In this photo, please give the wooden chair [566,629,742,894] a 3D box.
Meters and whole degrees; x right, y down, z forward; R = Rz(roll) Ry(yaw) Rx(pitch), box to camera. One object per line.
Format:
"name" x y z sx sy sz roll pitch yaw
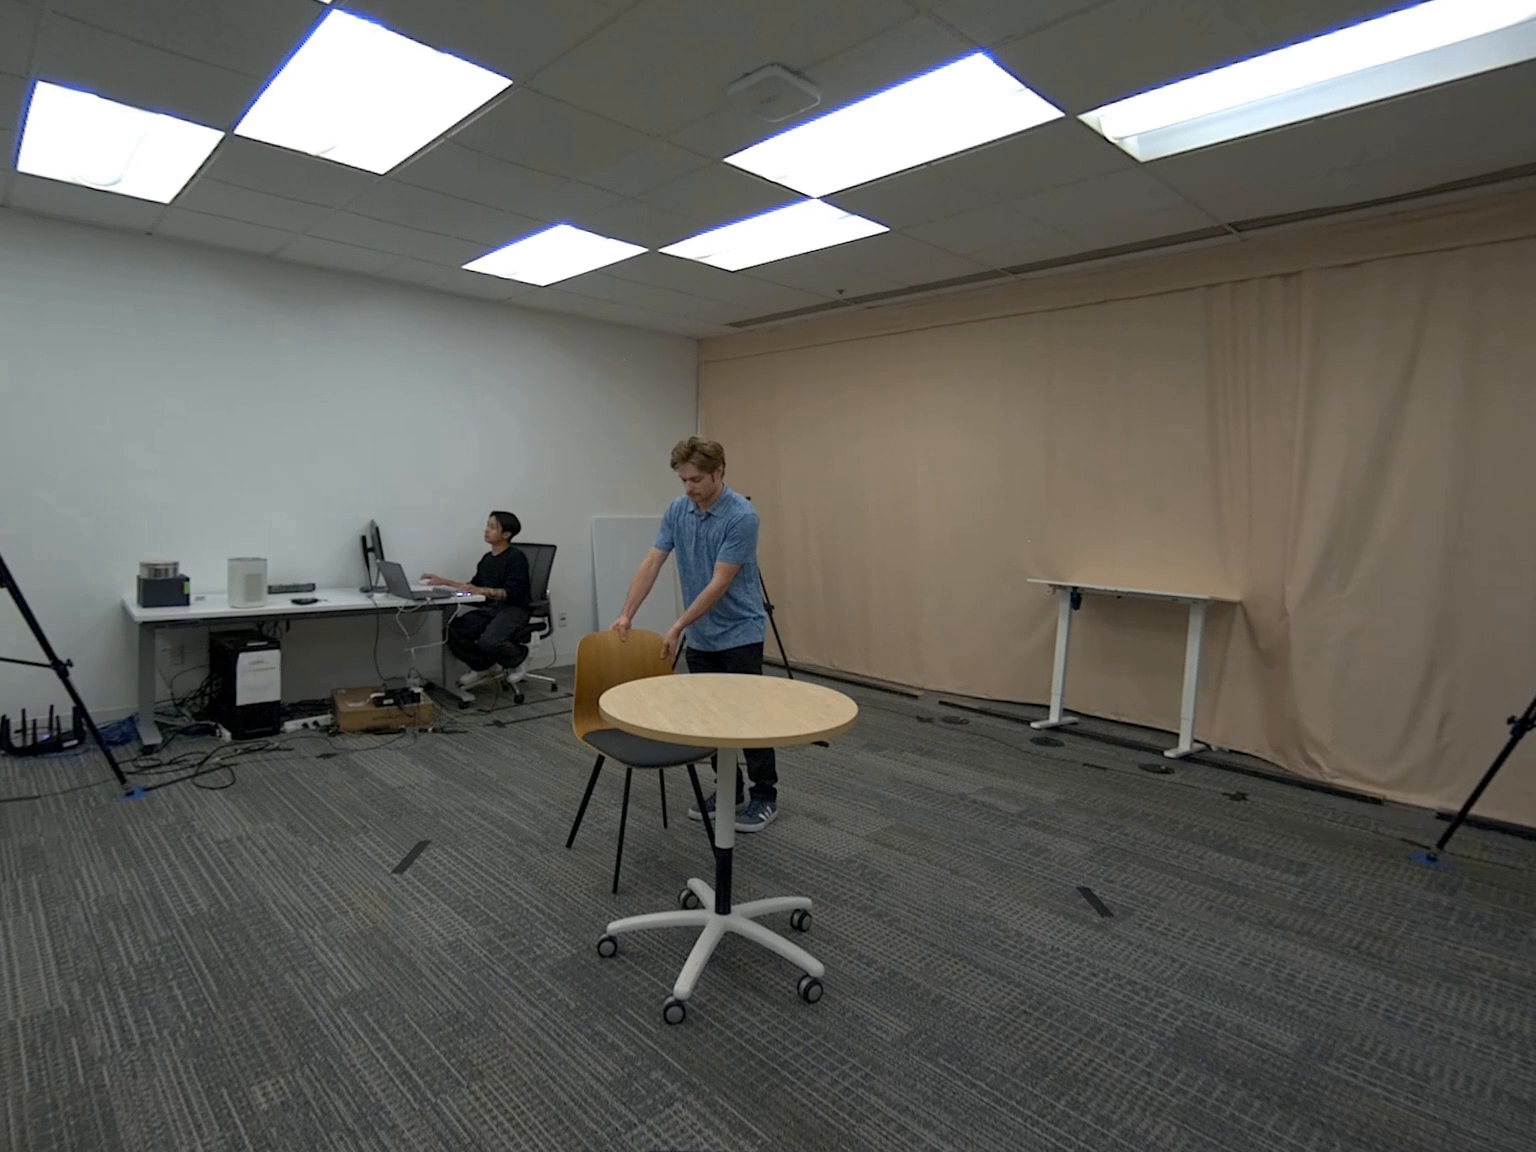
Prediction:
"wooden chair" -0.474 0.664 3.212 0.468 0.878 0.534 -1 0 -34
